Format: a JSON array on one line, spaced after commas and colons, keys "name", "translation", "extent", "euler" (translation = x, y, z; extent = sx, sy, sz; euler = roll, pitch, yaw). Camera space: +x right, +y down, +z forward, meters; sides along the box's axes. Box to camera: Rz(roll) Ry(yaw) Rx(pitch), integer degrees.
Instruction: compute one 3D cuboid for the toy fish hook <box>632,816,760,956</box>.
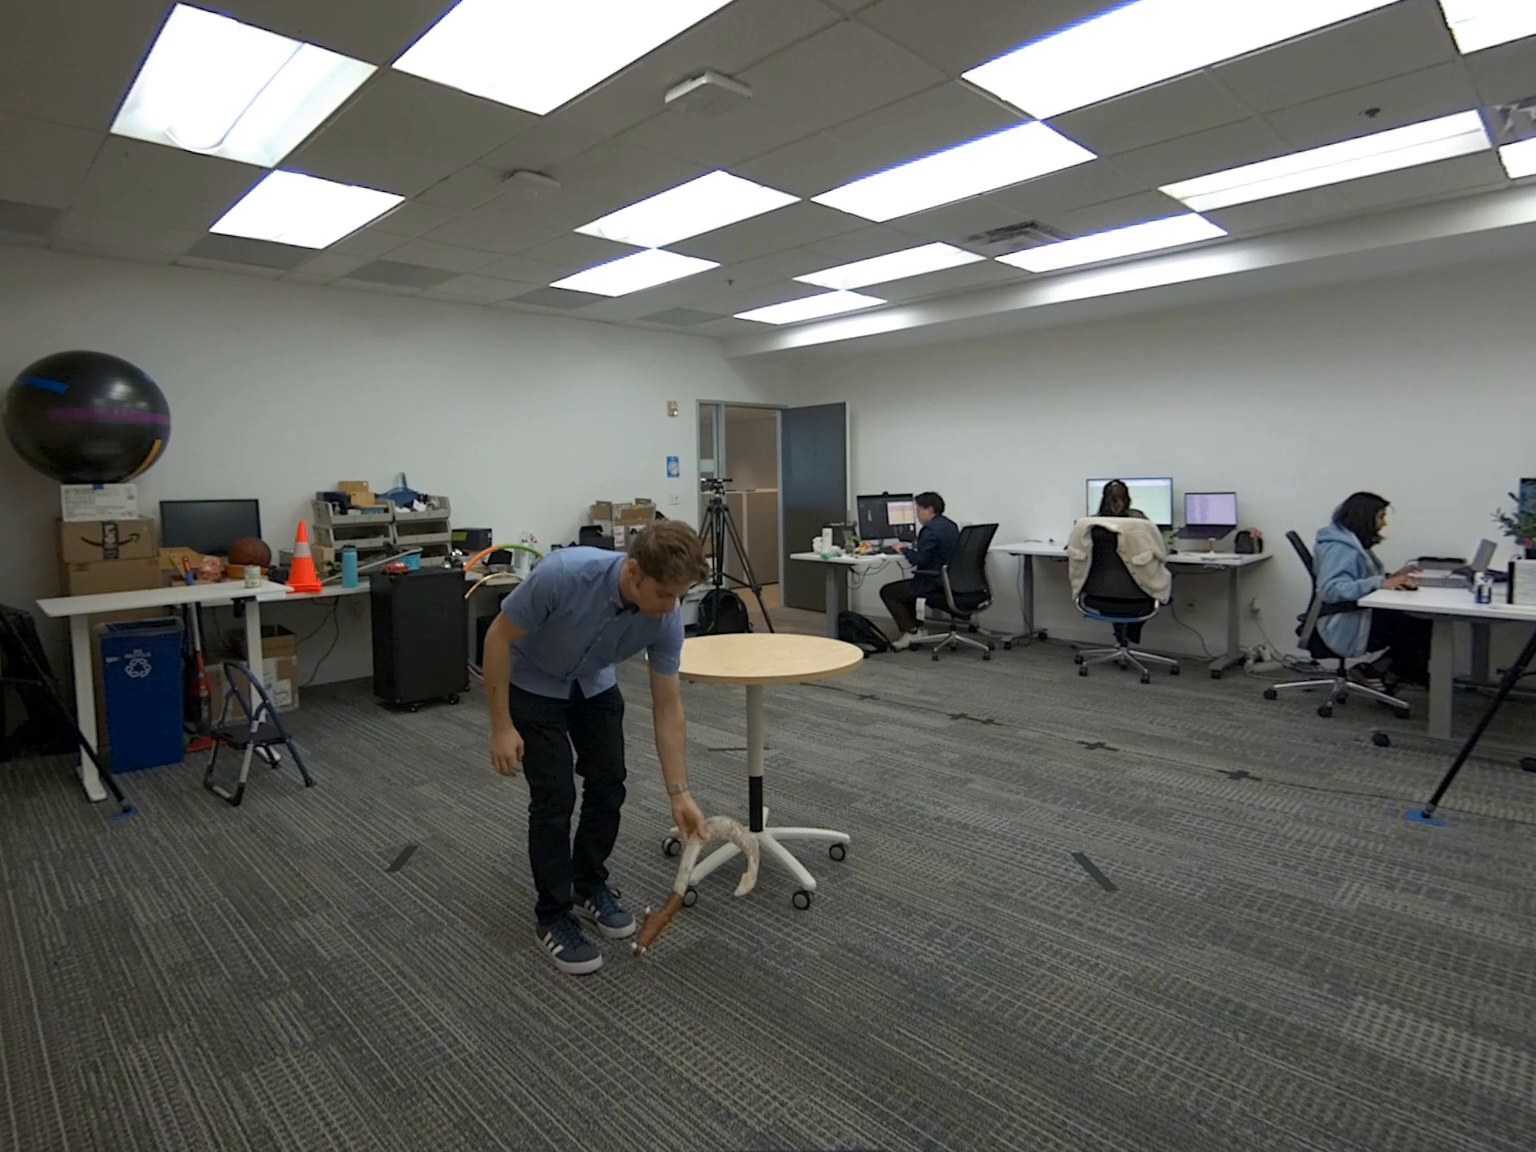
[{"name": "toy fish hook", "translation": [-0.185, 0.872, 2.364], "extent": [0.229, 0.047, 0.505], "euler": [29, 42, 14]}]
